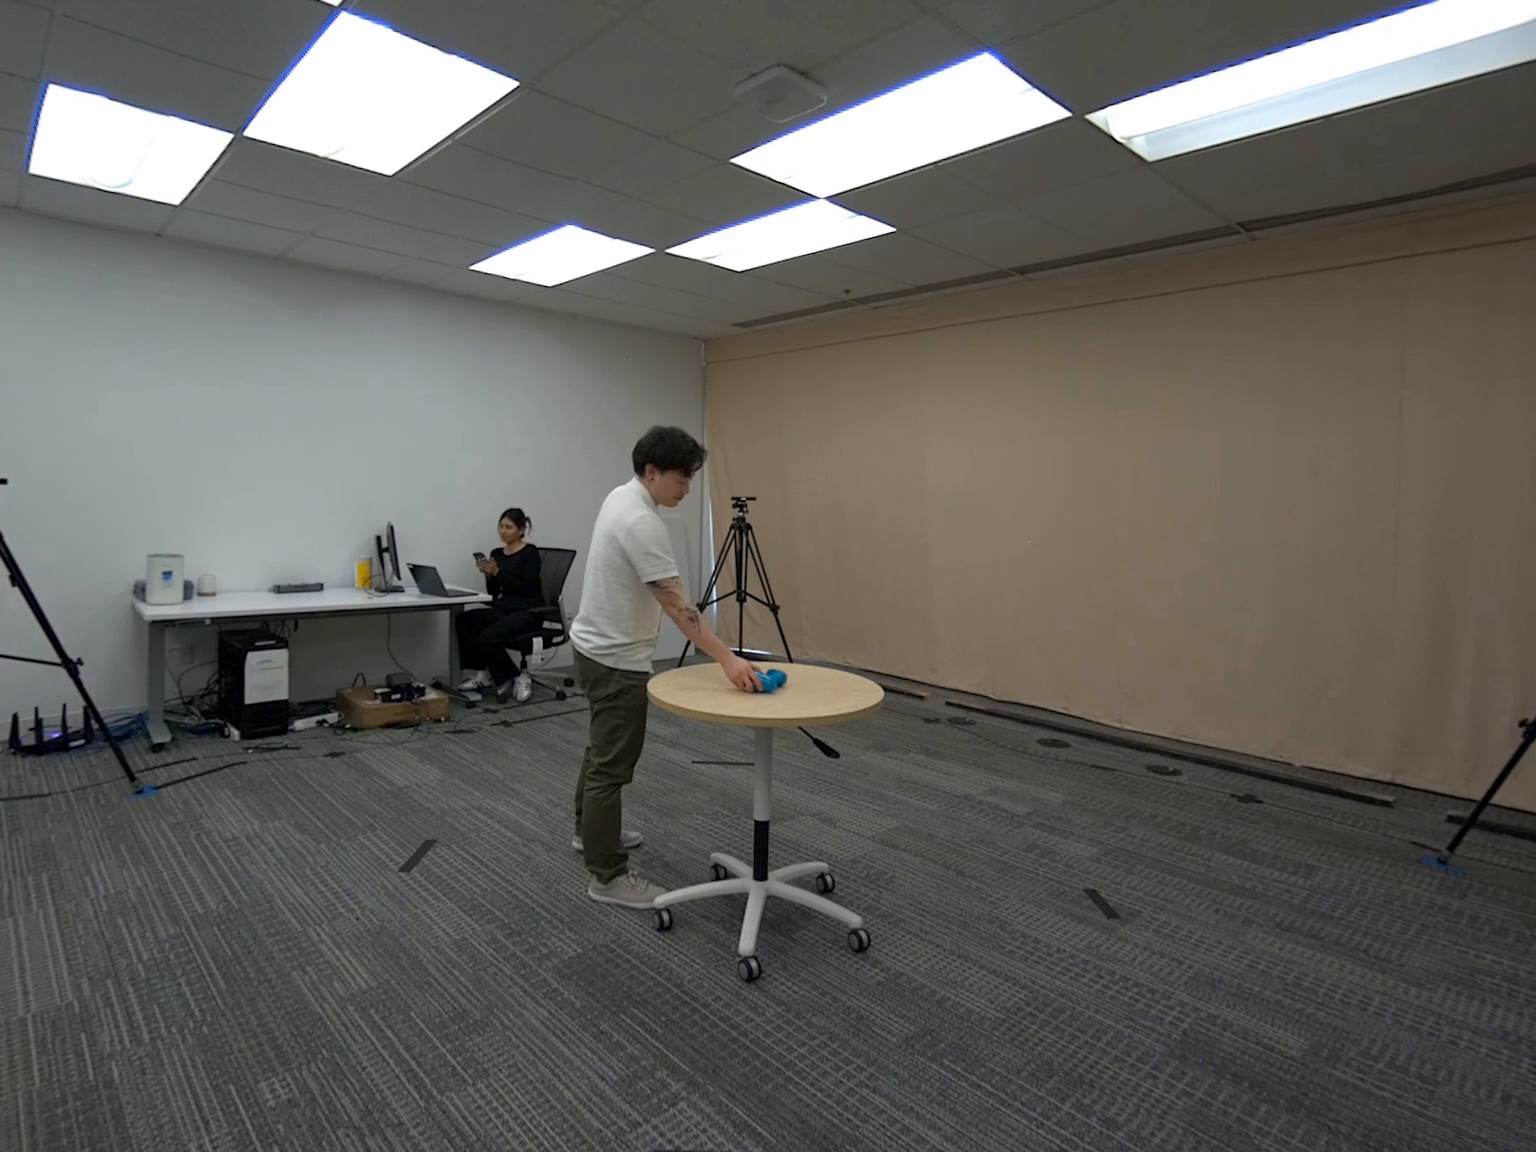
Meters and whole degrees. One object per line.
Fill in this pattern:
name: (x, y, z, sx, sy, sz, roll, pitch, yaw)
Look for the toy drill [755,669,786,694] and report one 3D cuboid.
toy drill: (-0.050, 0.332, 2.712, 0.174, 0.061, 0.143, 8, 7, 29)
